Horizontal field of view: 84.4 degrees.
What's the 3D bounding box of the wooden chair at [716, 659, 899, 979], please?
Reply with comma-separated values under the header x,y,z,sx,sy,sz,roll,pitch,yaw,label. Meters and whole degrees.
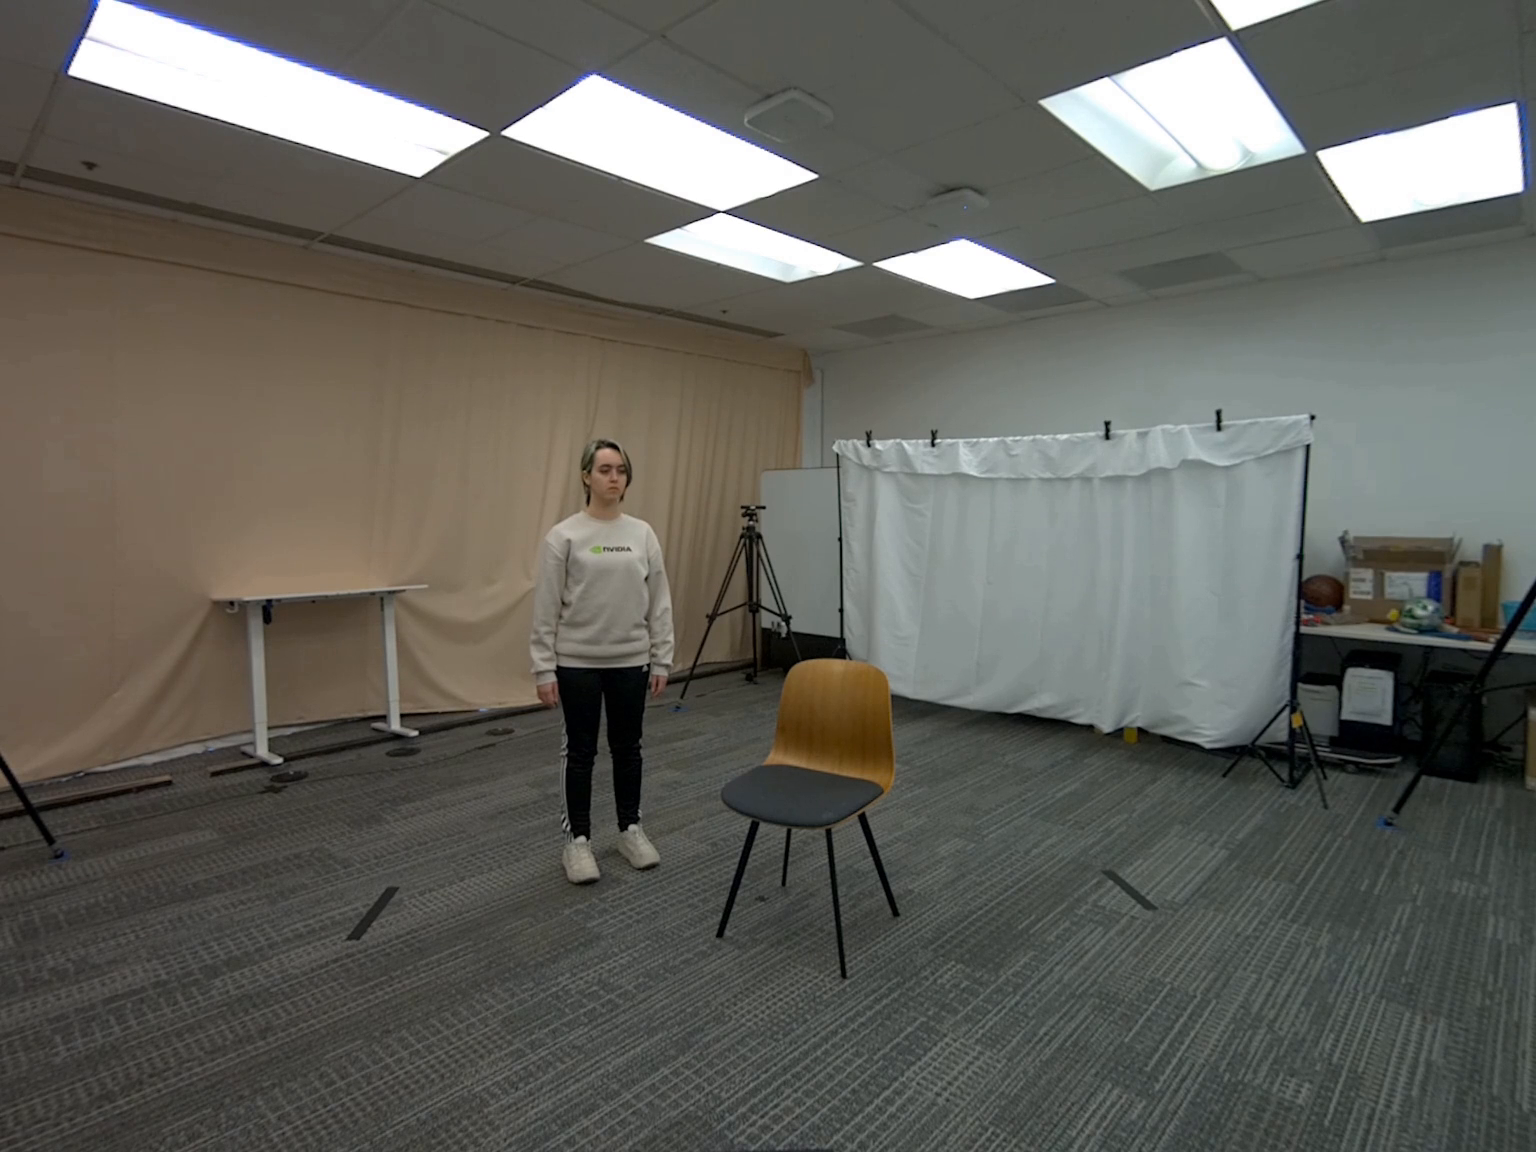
x,y,z,sx,sy,sz,roll,pitch,yaw,label
0.140,0.735,2.747,0.492,0.877,0.508,2,0,31,wooden chair
